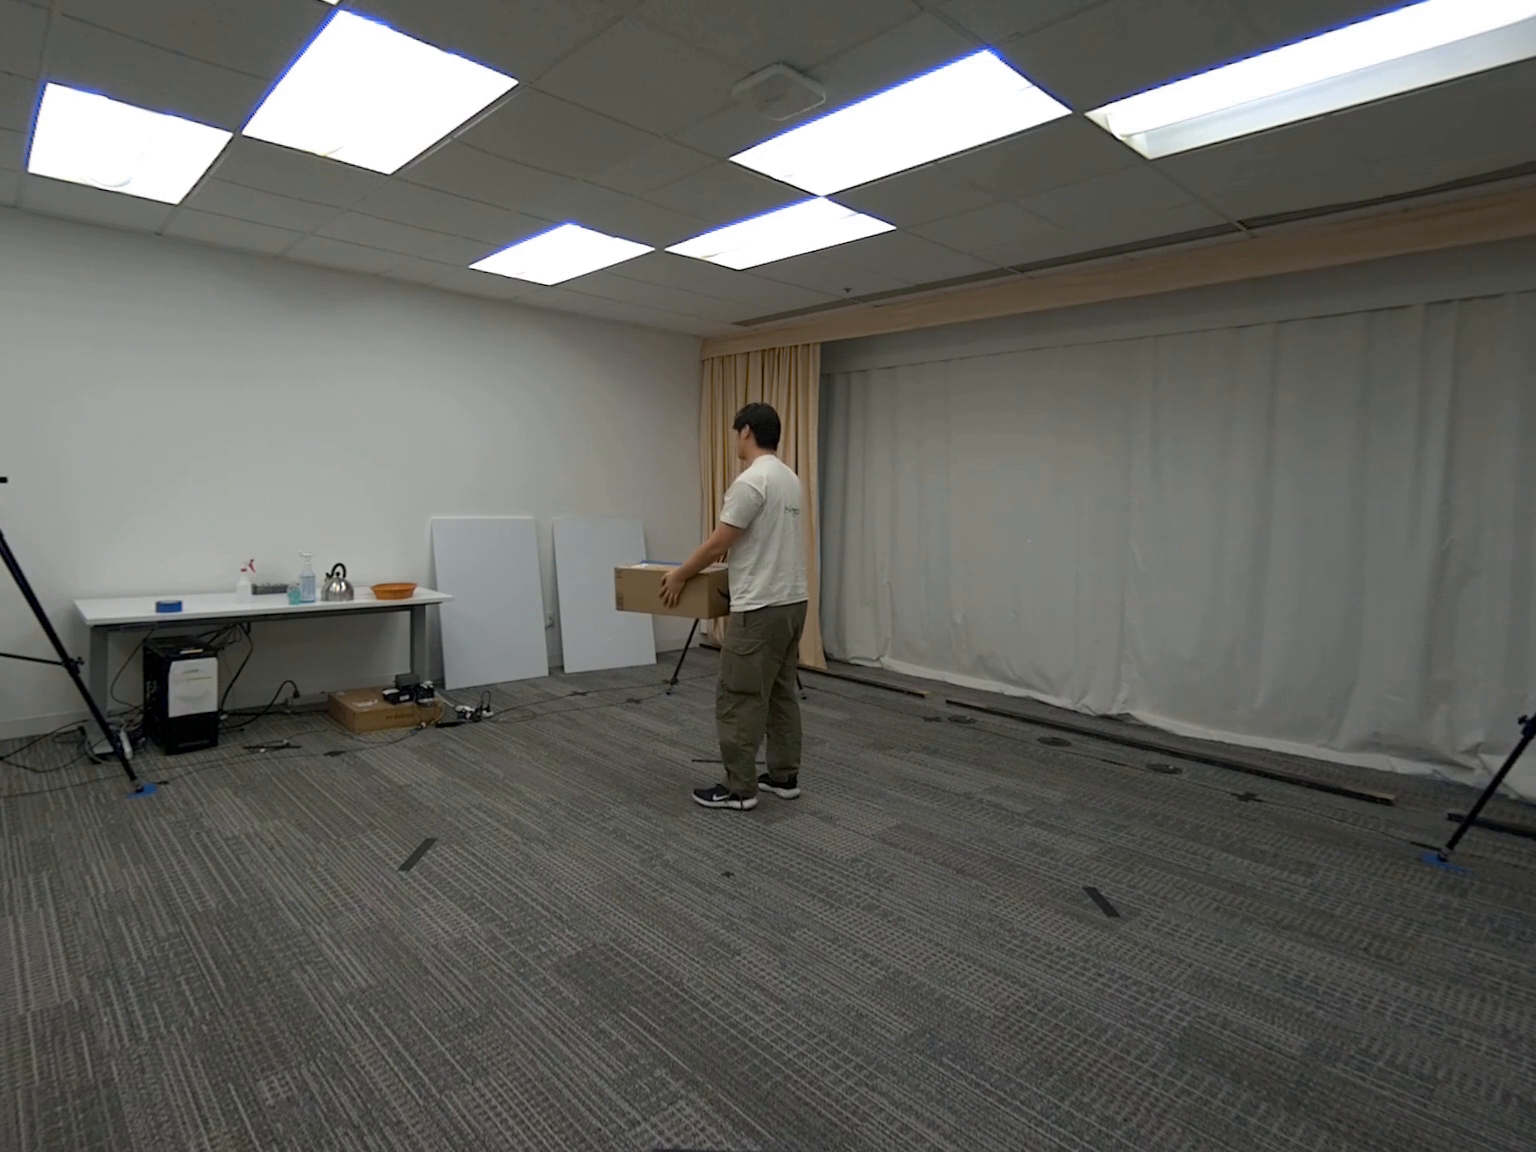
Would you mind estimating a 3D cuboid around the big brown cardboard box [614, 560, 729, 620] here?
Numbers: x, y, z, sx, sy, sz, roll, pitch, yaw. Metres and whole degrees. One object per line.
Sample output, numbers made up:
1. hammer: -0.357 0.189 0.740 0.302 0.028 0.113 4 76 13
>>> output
1. big brown cardboard box: -0.407 0.054 4.114 0.603 0.232 0.410 4 8 33
